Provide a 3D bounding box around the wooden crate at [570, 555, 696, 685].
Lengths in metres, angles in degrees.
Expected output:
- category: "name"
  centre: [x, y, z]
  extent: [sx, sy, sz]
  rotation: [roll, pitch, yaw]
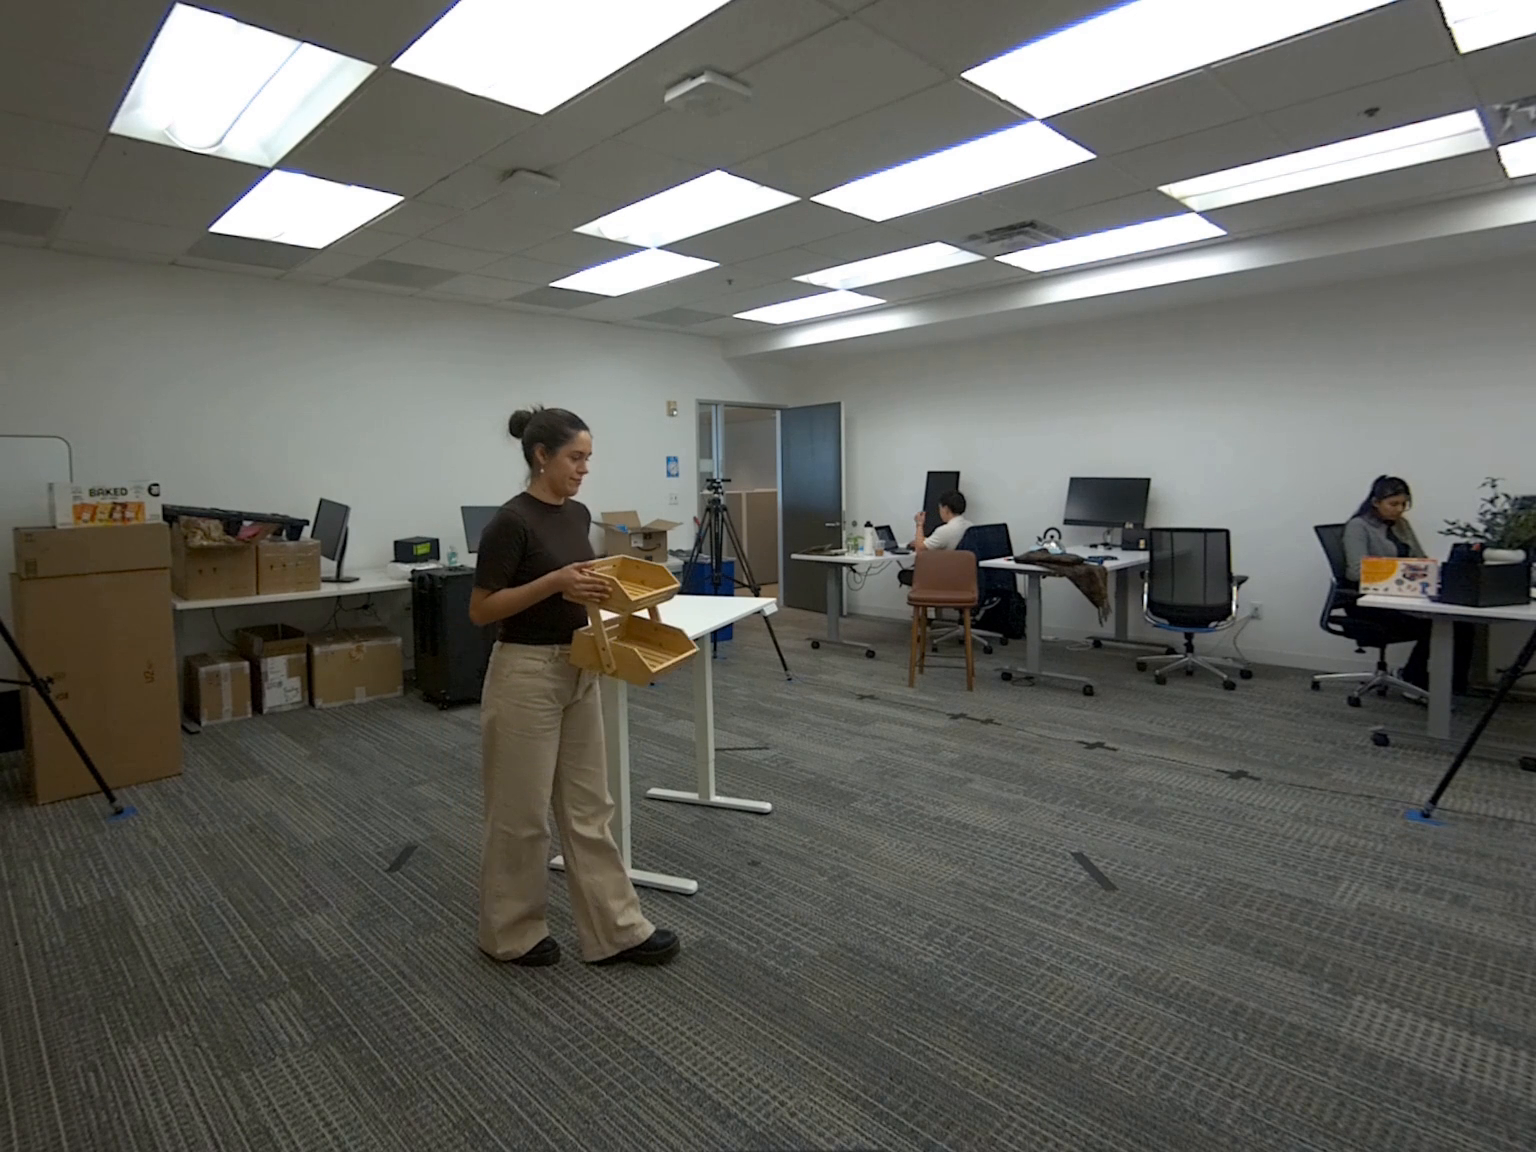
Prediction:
- category: "wooden crate"
  centre: [-0.364, 0.106, 2.392]
  extent: [0.309, 0.271, 0.319]
  rotation: [13, 10, 19]
